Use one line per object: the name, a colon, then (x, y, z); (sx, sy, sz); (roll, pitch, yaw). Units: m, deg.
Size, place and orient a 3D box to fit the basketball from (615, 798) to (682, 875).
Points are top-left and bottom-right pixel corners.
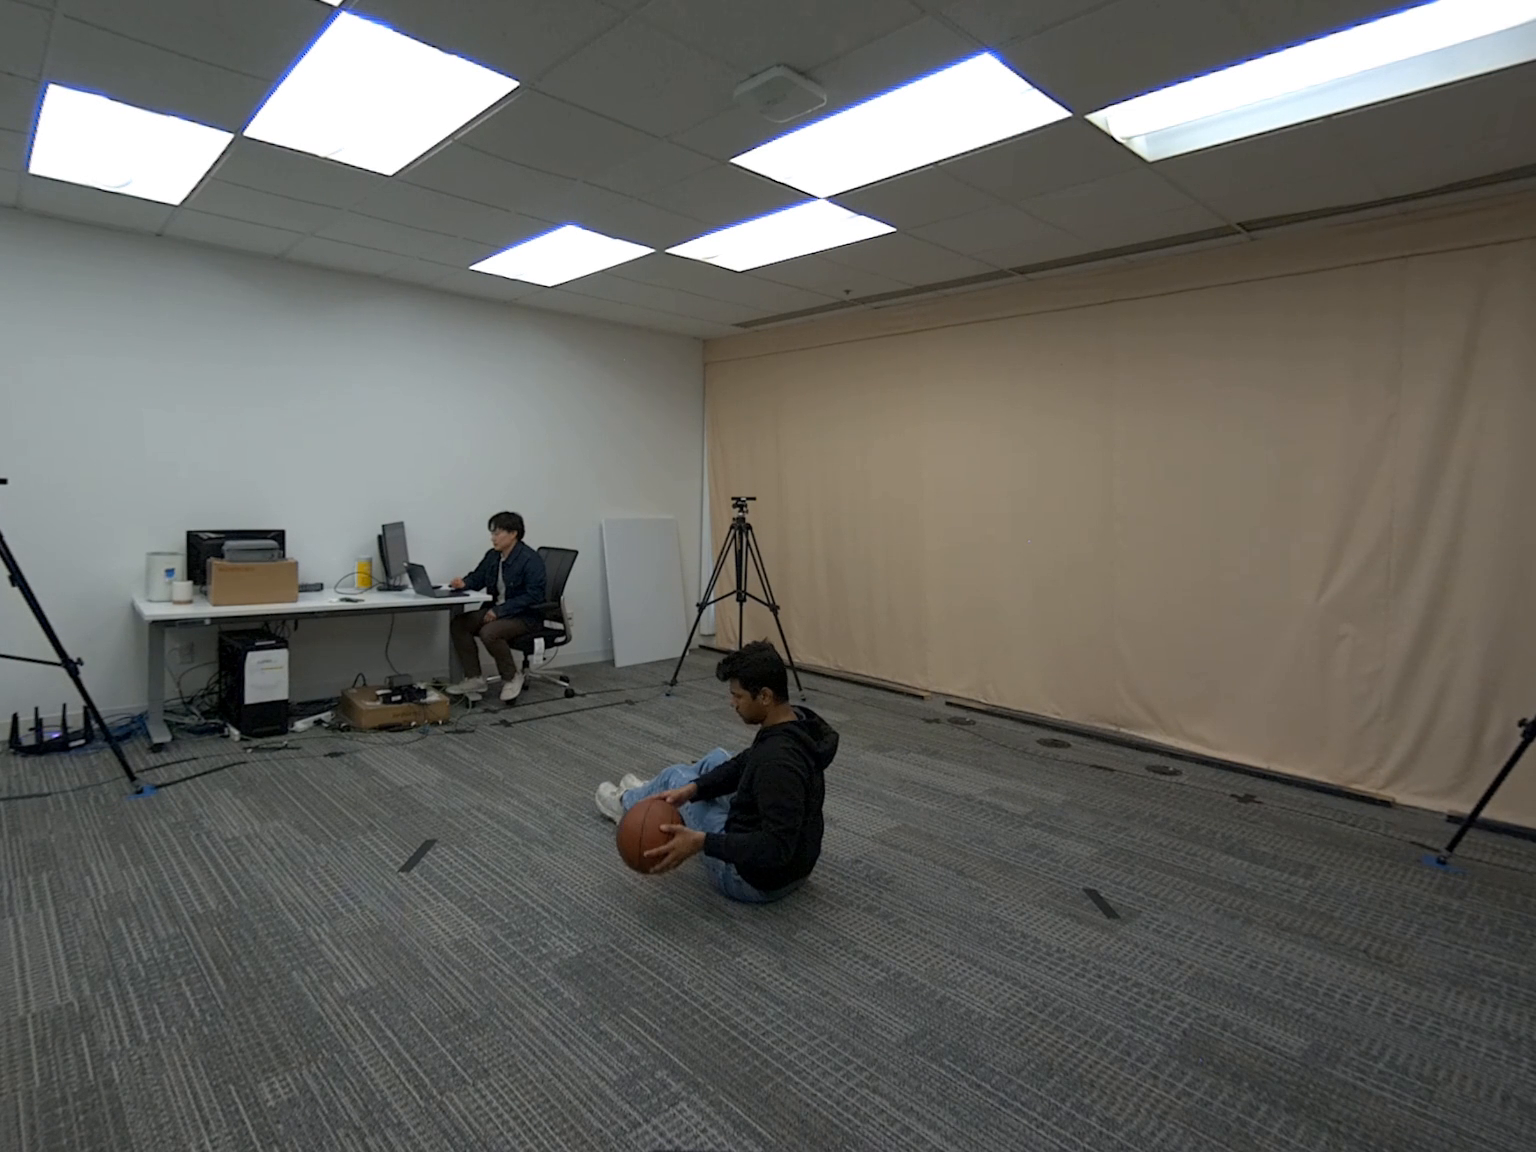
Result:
basketball: (-0.382, 0.864, 2.829); (0.236, 0.235, 0.237); (1, 4, -1)
